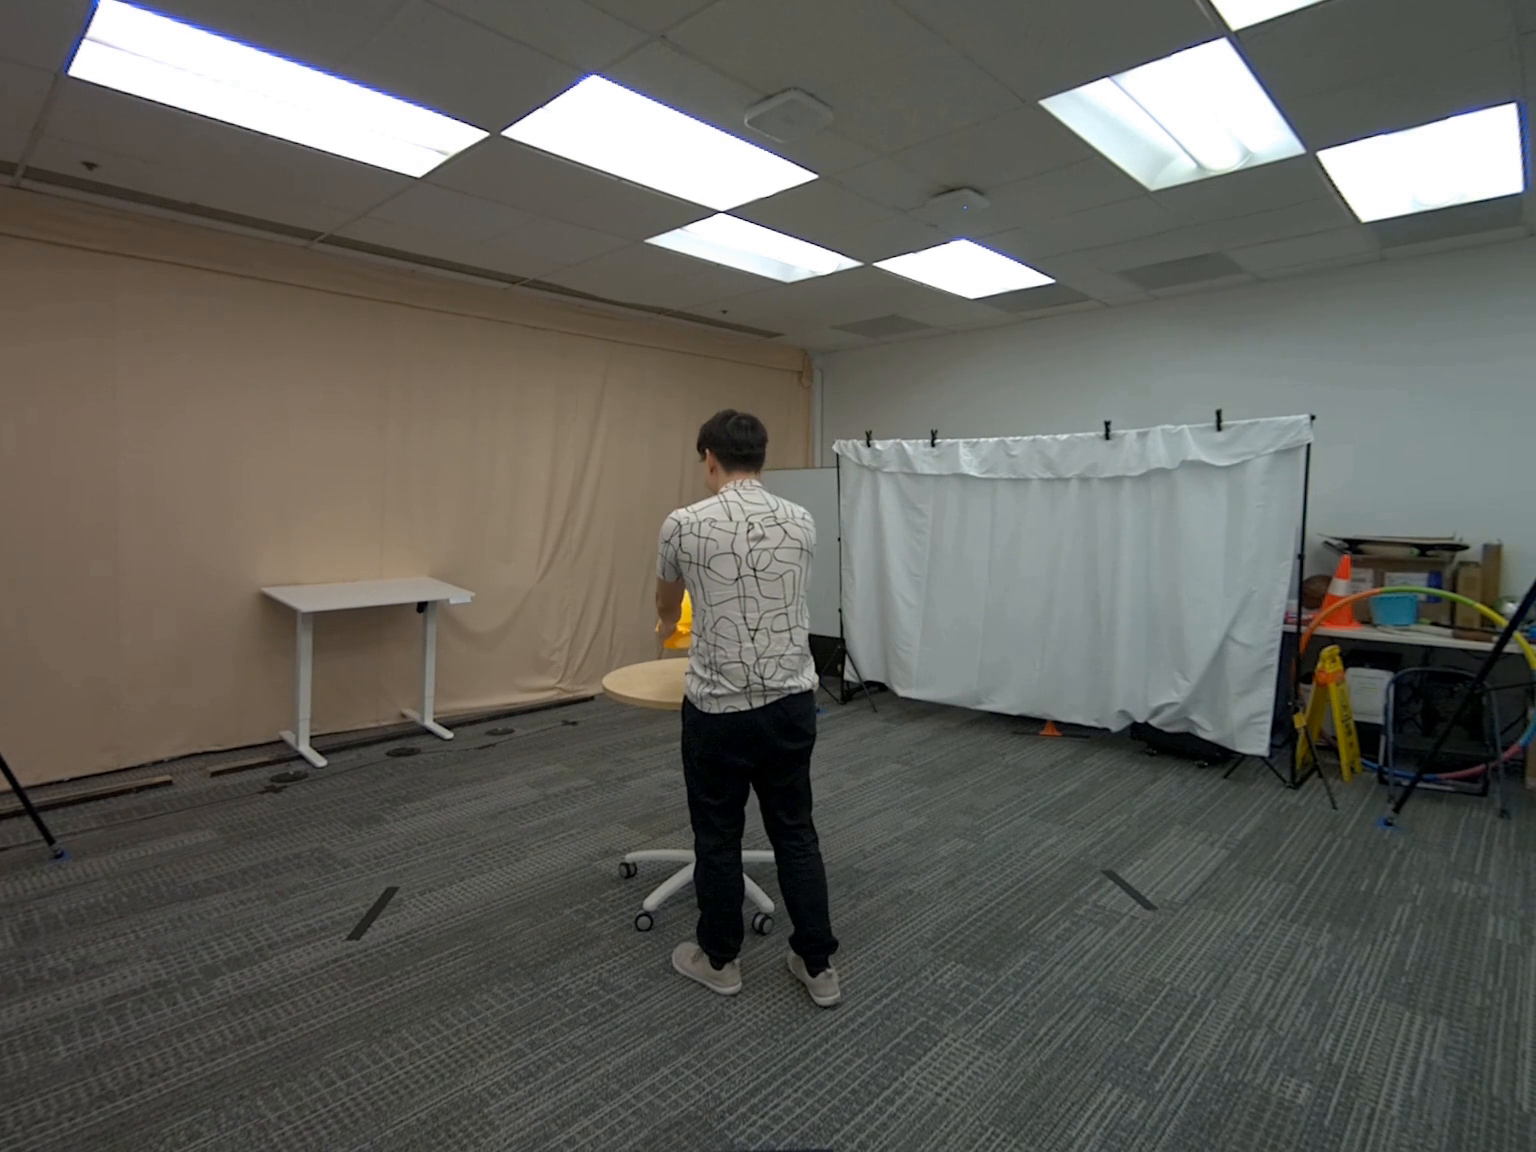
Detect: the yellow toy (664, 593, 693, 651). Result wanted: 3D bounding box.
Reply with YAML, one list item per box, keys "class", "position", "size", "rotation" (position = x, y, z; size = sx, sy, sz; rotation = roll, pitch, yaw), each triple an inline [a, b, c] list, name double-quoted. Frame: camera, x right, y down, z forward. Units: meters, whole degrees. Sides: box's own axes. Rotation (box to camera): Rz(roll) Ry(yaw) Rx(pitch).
- class: "yellow toy"
  position: [-0.262, 0.116, 2.890]
  size: [0.201, 0.235, 0.193]
  rotation: [-3, -26, -20]
